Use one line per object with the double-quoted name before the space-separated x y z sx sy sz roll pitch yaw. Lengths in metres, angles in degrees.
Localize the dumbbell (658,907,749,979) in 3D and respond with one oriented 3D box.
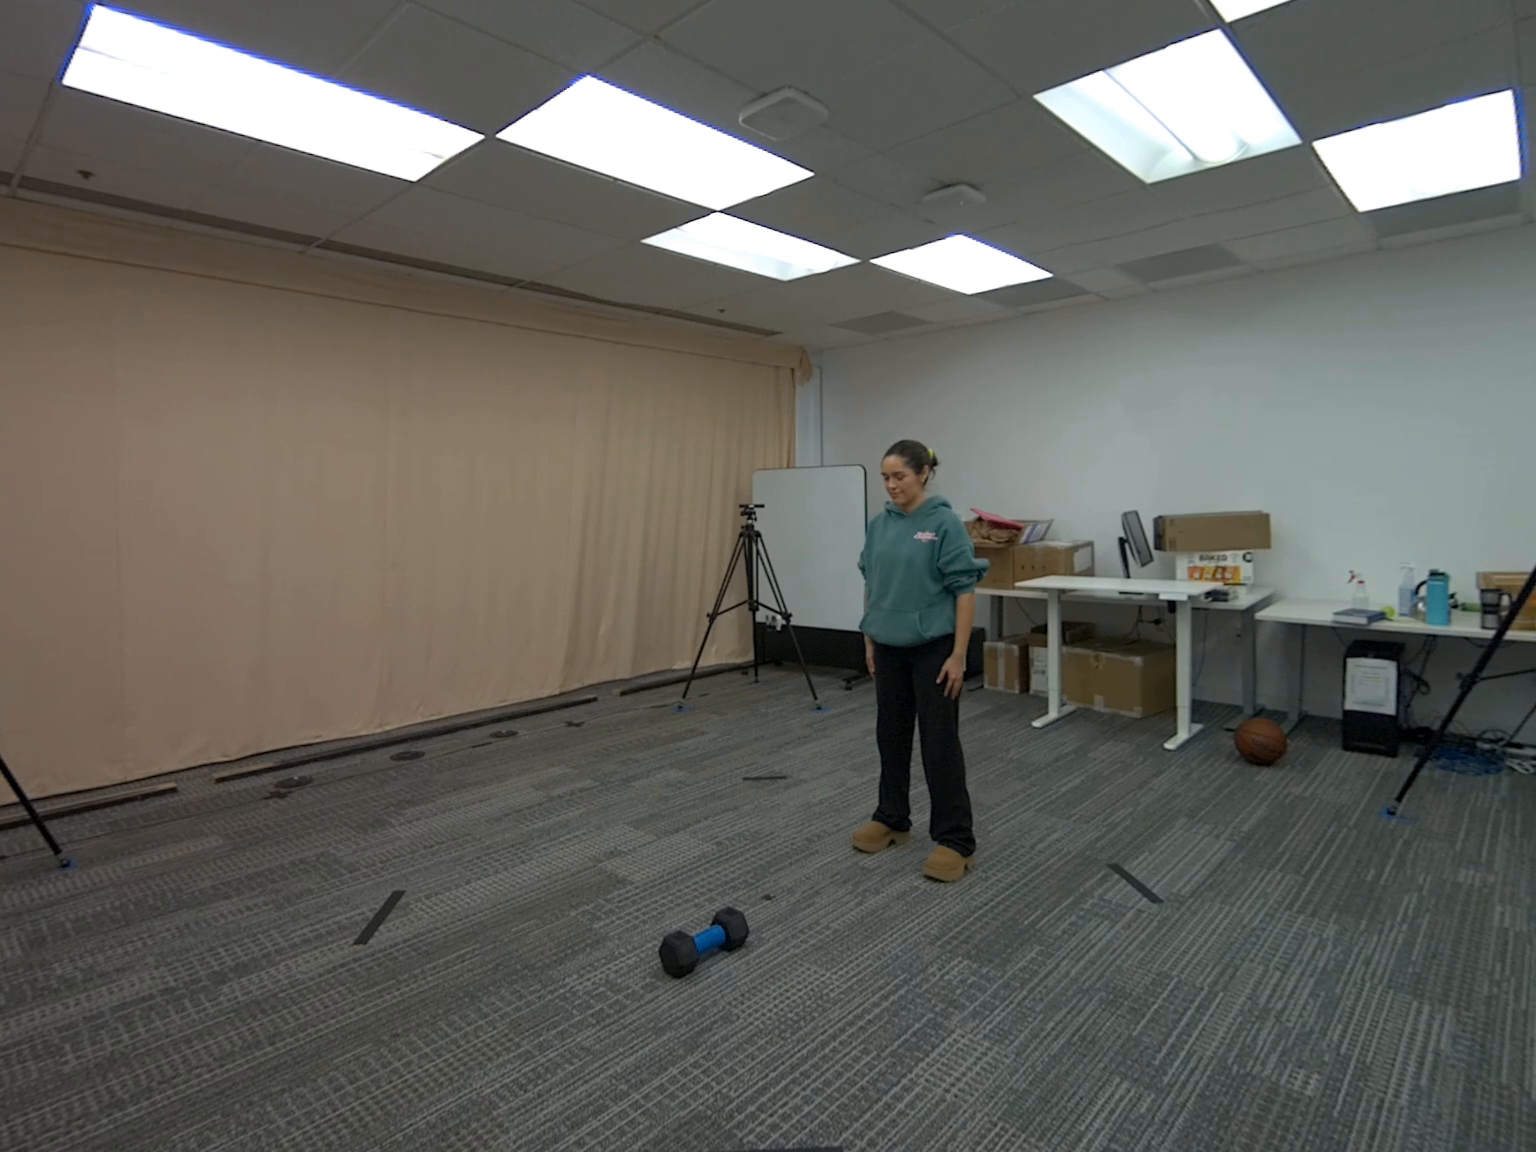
"dumbbell" -0.190 1.125 2.586 0.285 0.108 0.127 -5 6 -44
